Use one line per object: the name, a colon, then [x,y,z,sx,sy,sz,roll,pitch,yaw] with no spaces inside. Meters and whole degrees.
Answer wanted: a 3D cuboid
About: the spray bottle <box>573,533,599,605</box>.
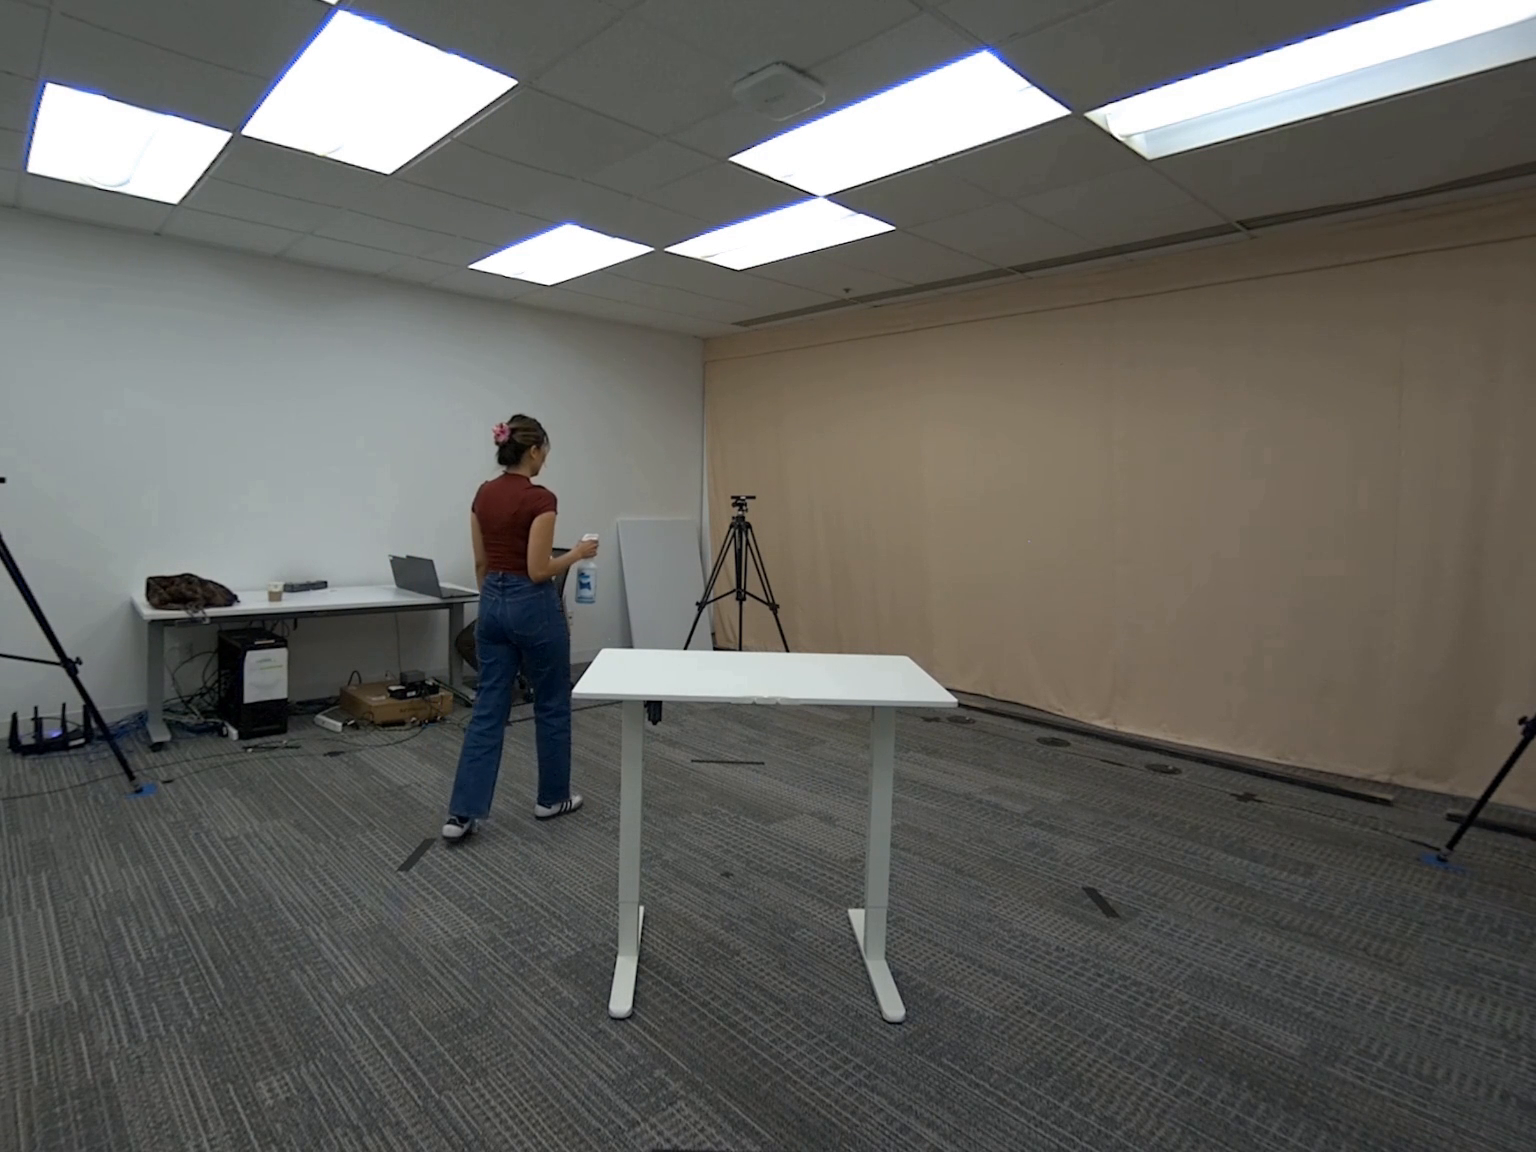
spray bottle: [-0.793,-0.034,3.622,0.088,0.297,0.089,5,1,-30]
